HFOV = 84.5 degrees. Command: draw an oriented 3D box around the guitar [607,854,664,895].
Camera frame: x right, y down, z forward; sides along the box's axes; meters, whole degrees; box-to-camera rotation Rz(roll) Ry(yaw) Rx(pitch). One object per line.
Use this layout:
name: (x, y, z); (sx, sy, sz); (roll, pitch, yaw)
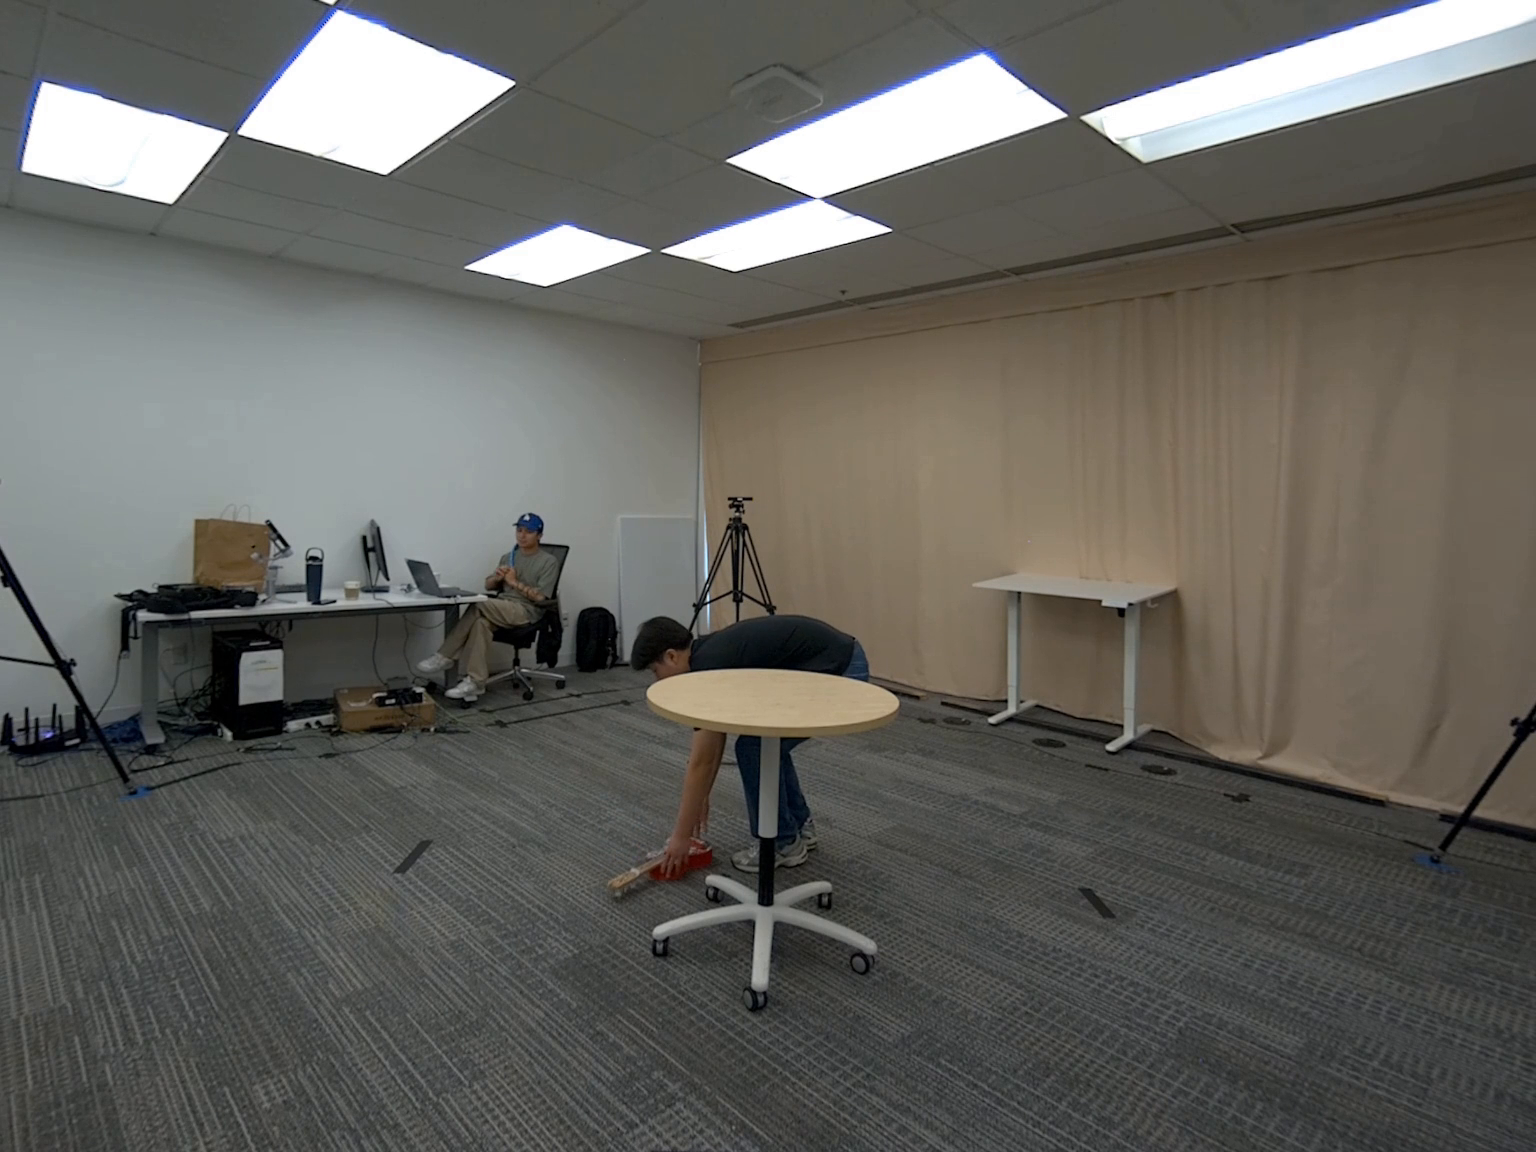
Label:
guitar: (-0.437, 1.072, 3.100); (0.198, 0.070, 0.487); (6, 8, 42)
